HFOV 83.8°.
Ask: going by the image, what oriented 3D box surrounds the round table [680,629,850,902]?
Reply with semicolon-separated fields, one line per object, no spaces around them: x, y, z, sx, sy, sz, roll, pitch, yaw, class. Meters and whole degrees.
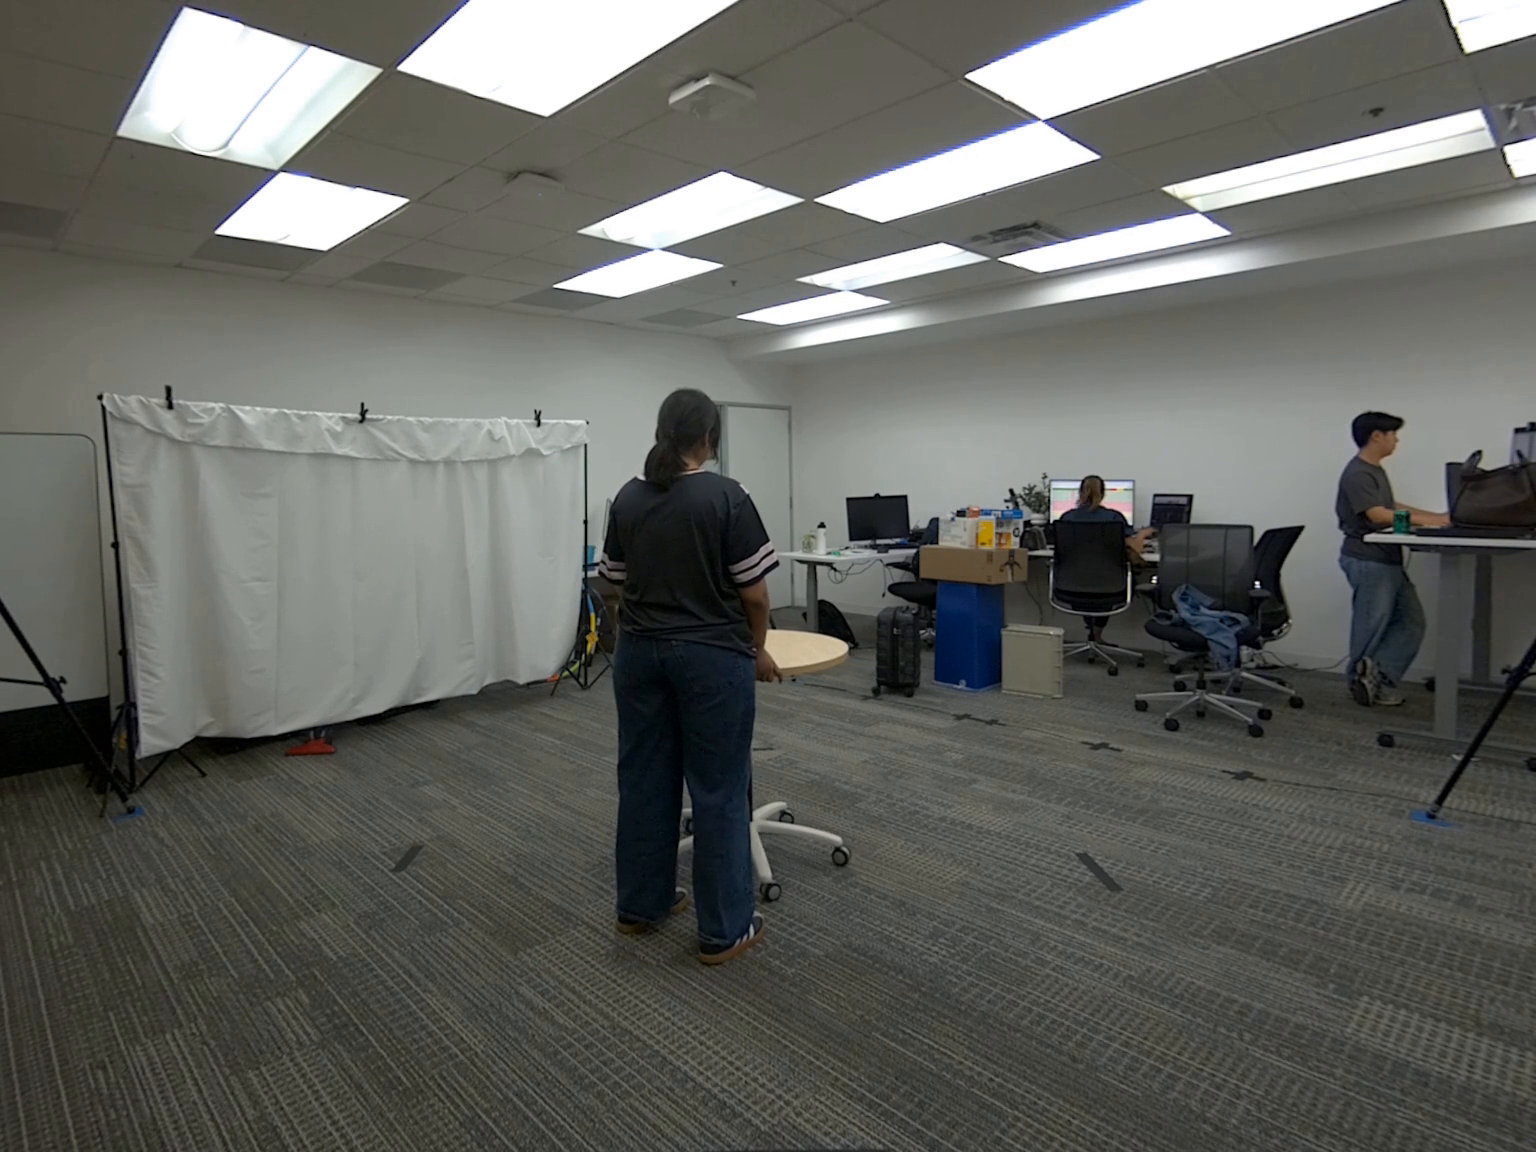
-0.073;0.656;3.141;0.763;0.791;0.768;-2;5;-2;round table
